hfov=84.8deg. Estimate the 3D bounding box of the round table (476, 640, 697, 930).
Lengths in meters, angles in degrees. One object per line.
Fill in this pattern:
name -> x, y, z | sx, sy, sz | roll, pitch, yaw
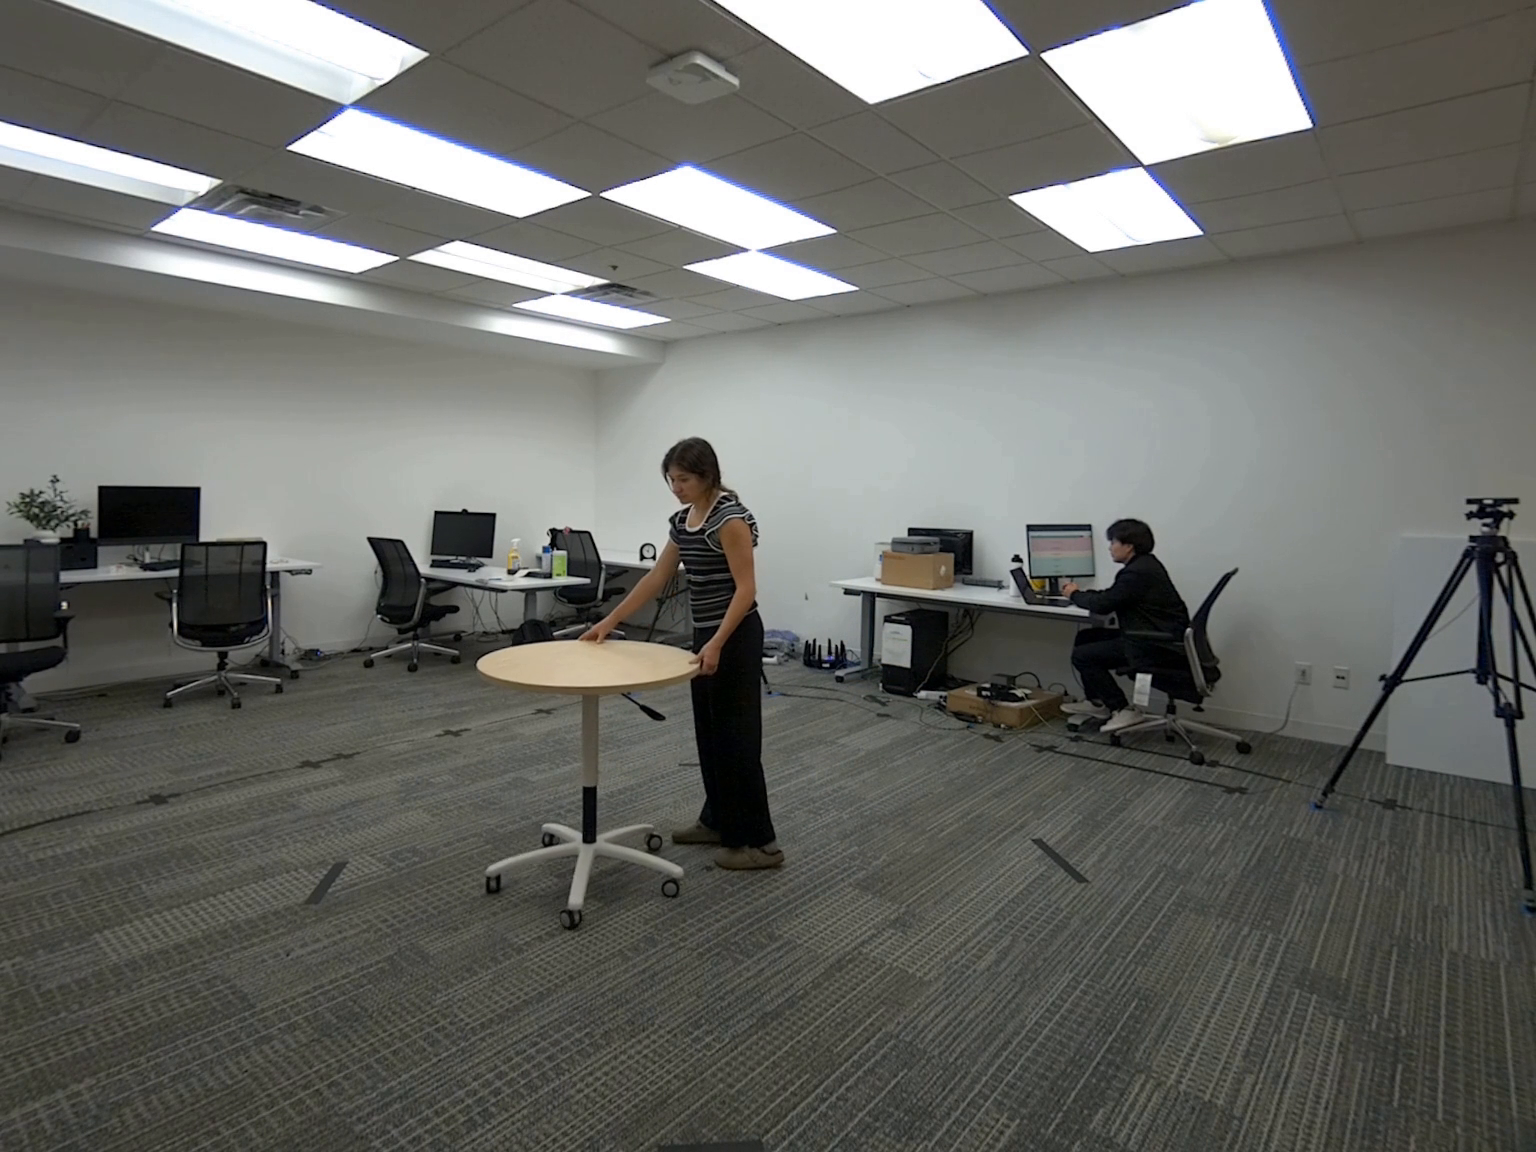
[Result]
round table -> -0.620, 0.677, 2.968 | 0.784, 0.784, 0.789 | 1, 5, -2
